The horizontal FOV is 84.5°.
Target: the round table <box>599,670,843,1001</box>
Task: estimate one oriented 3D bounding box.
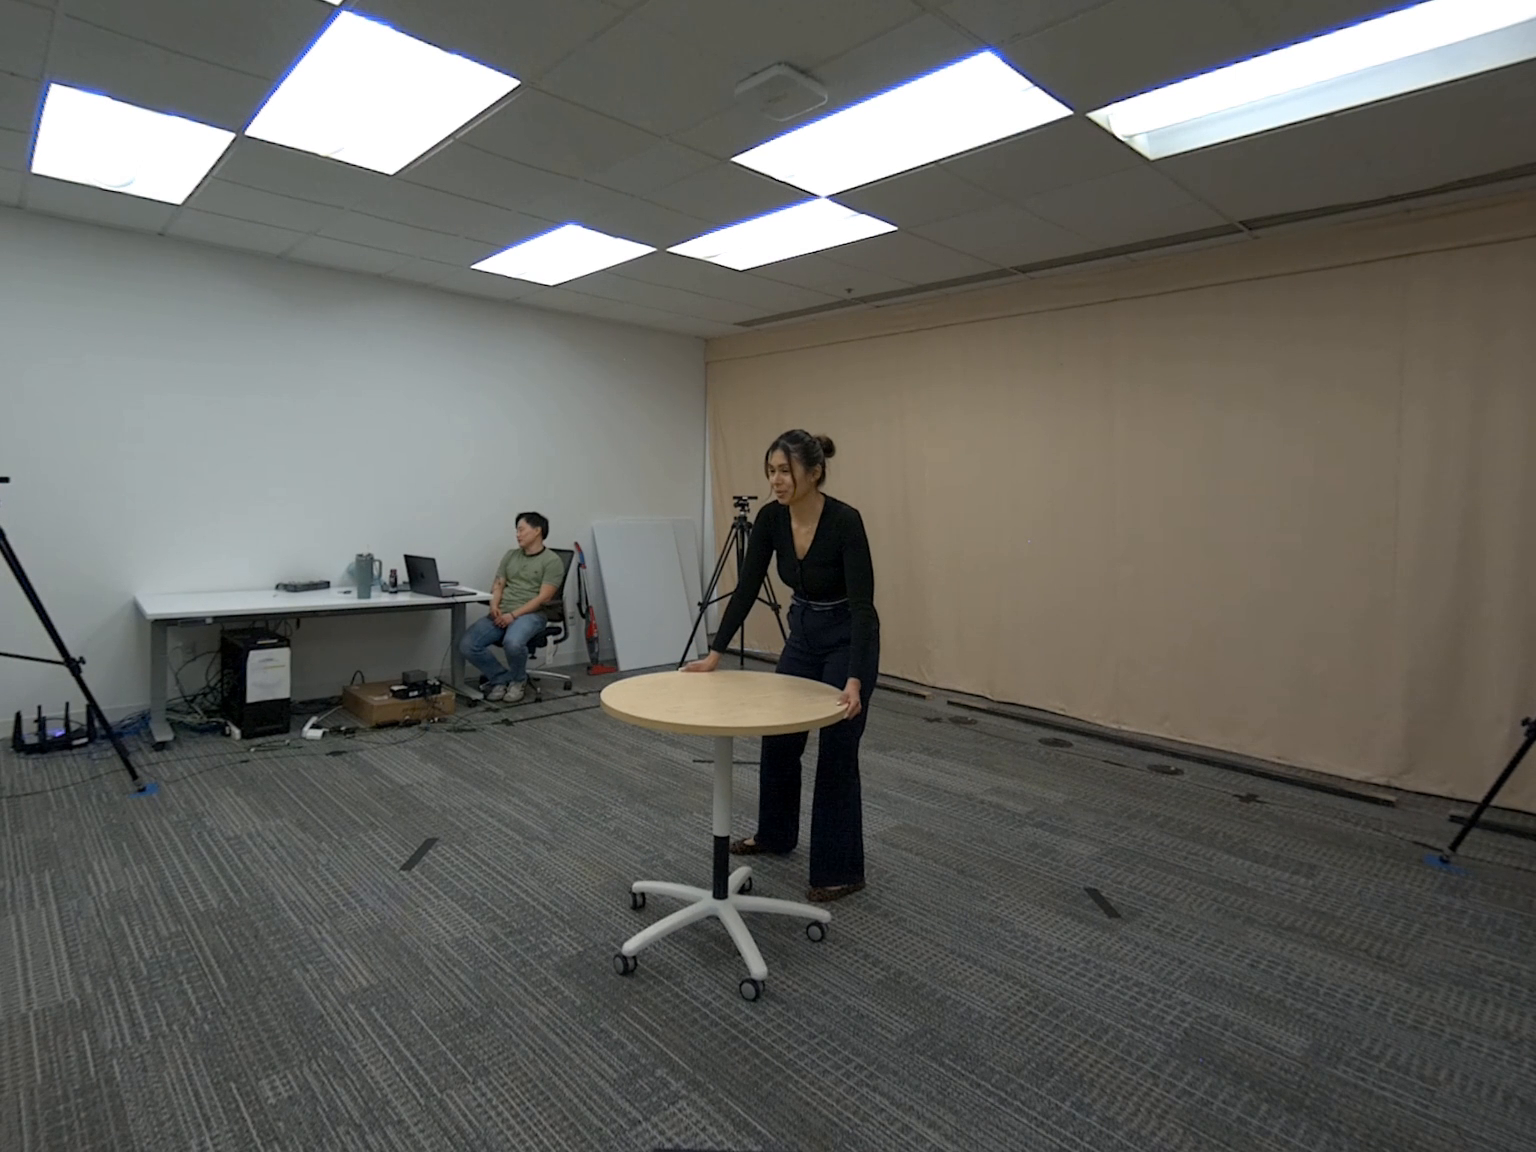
[{"bbox_3d":[-0.153,0.759,2.628,0.763,0.792,0.766,1,4,-1],"label":"round table"}]
